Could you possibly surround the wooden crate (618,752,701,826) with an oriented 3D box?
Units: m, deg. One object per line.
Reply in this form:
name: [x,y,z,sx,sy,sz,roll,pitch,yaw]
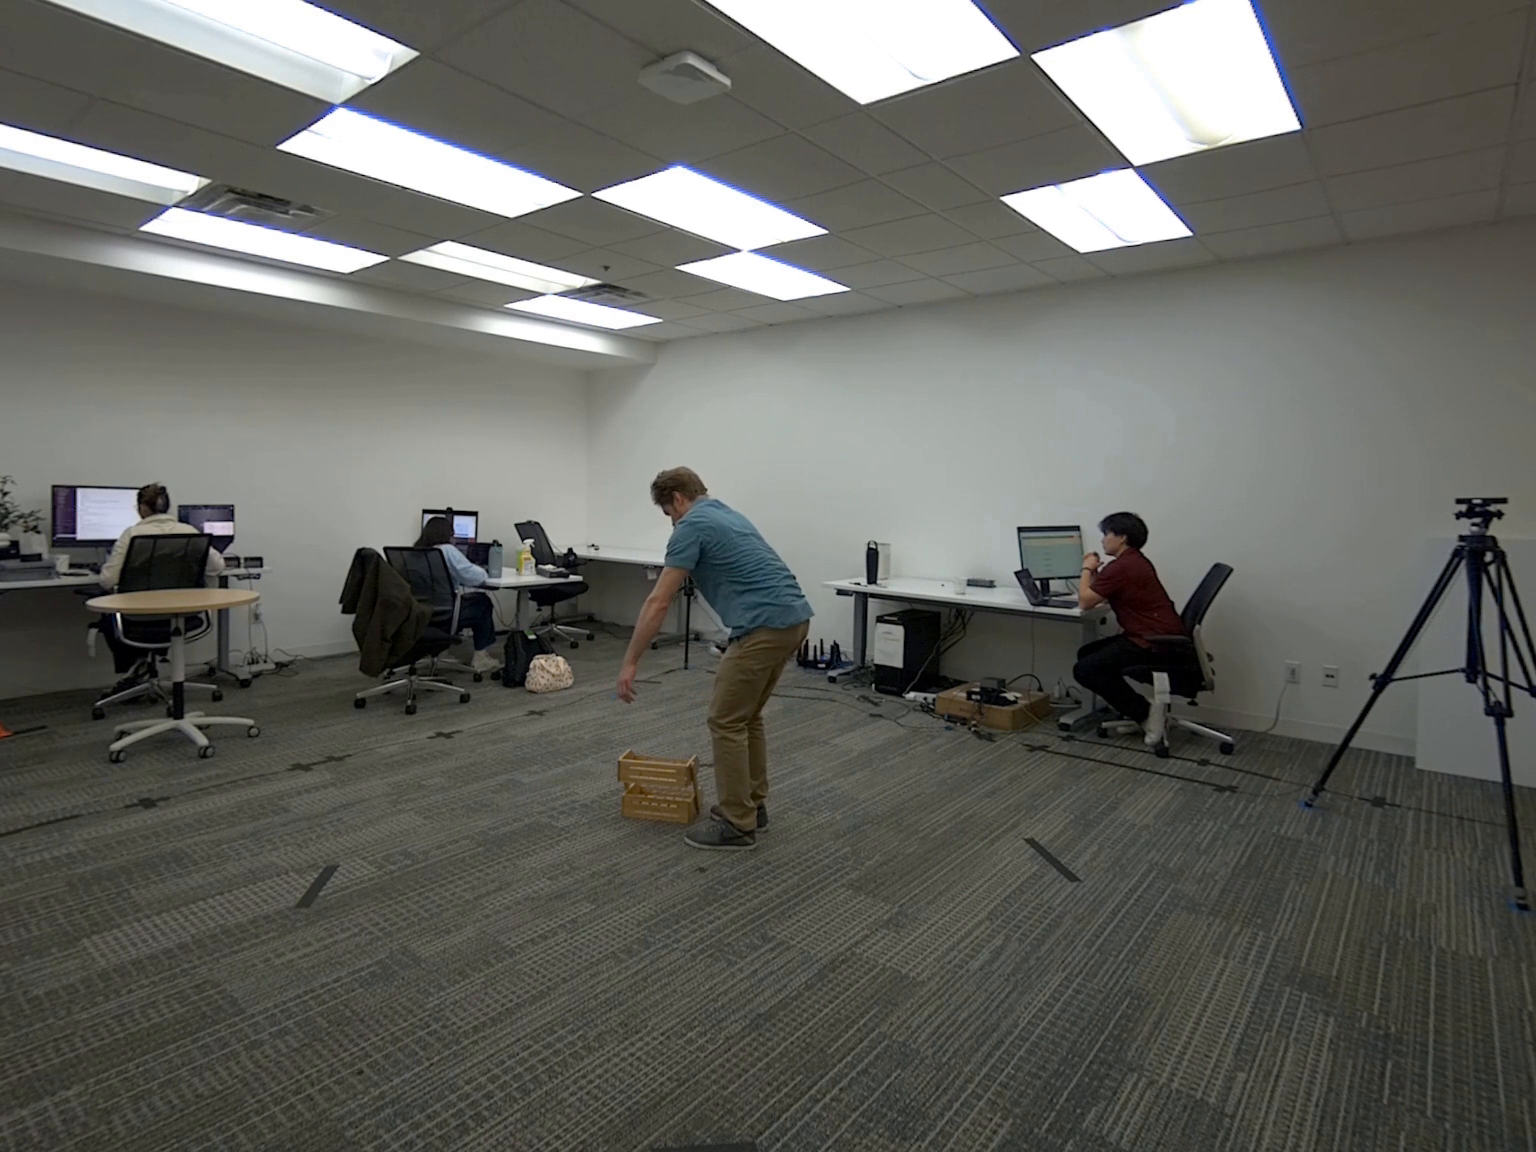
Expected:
wooden crate: [-0.471,0.881,3.665,0.328,0.272,0.300,2,5,10]
